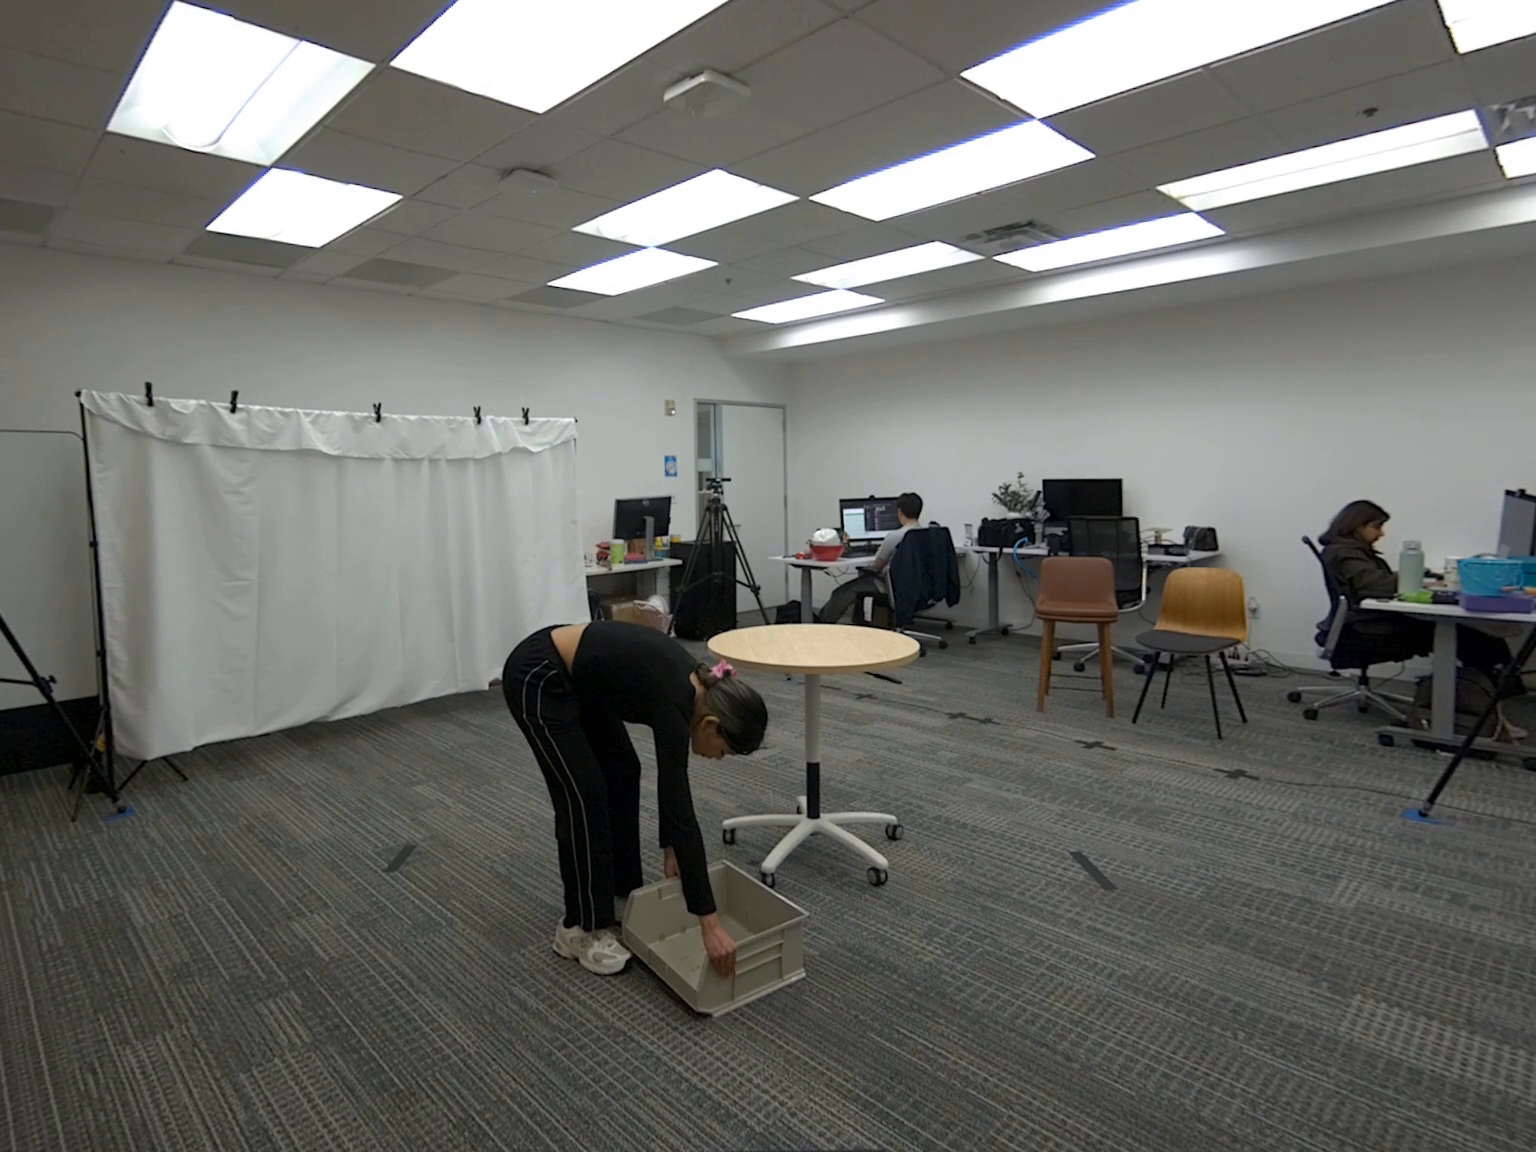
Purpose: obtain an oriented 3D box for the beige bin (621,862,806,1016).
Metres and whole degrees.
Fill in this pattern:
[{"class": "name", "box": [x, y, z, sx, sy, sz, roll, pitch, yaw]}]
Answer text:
[{"class": "beige bin", "box": [-0.154, 1.030, 2.451, 0.368, 0.188, 0.435, -5, 6, -36]}]
